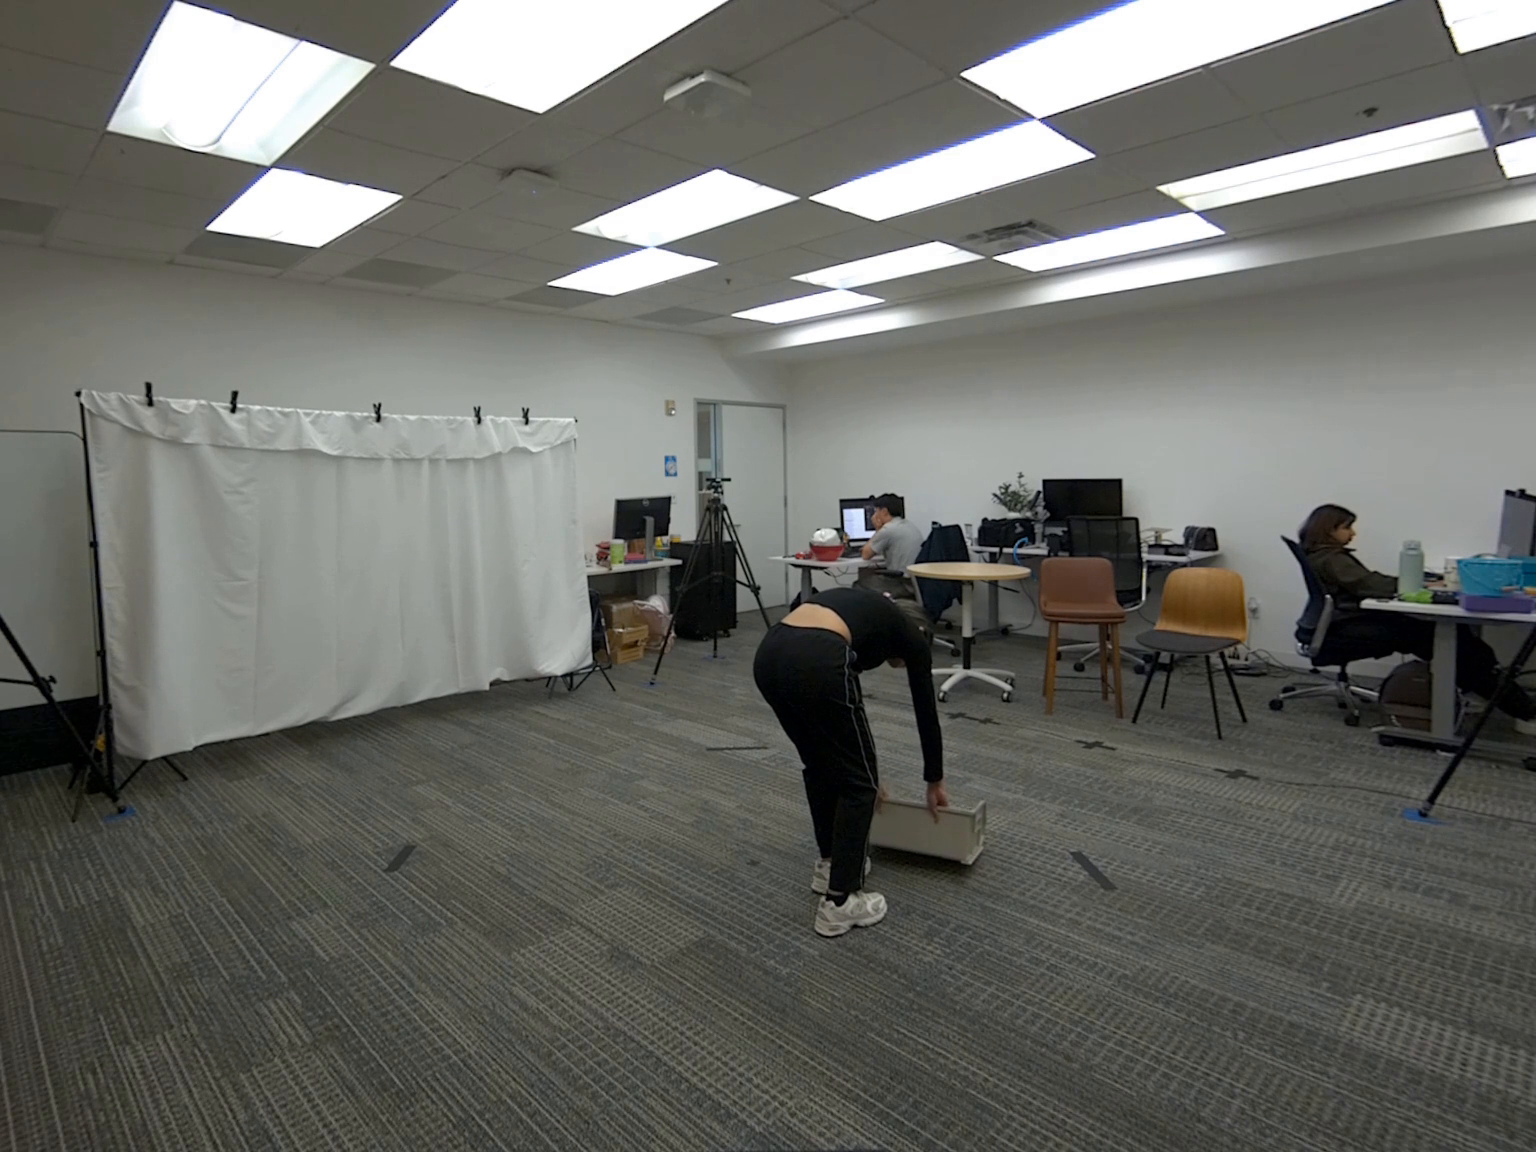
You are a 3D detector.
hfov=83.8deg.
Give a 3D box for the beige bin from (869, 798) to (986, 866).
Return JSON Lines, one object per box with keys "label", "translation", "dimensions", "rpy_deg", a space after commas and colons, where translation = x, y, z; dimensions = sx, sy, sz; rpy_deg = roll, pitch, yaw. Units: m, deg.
{"label": "beige bin", "translation": [0.578, 0.909, 3.178], "dimensions": [0.432, 0.190, 0.367], "rpy_deg": [3, -4, 23]}
